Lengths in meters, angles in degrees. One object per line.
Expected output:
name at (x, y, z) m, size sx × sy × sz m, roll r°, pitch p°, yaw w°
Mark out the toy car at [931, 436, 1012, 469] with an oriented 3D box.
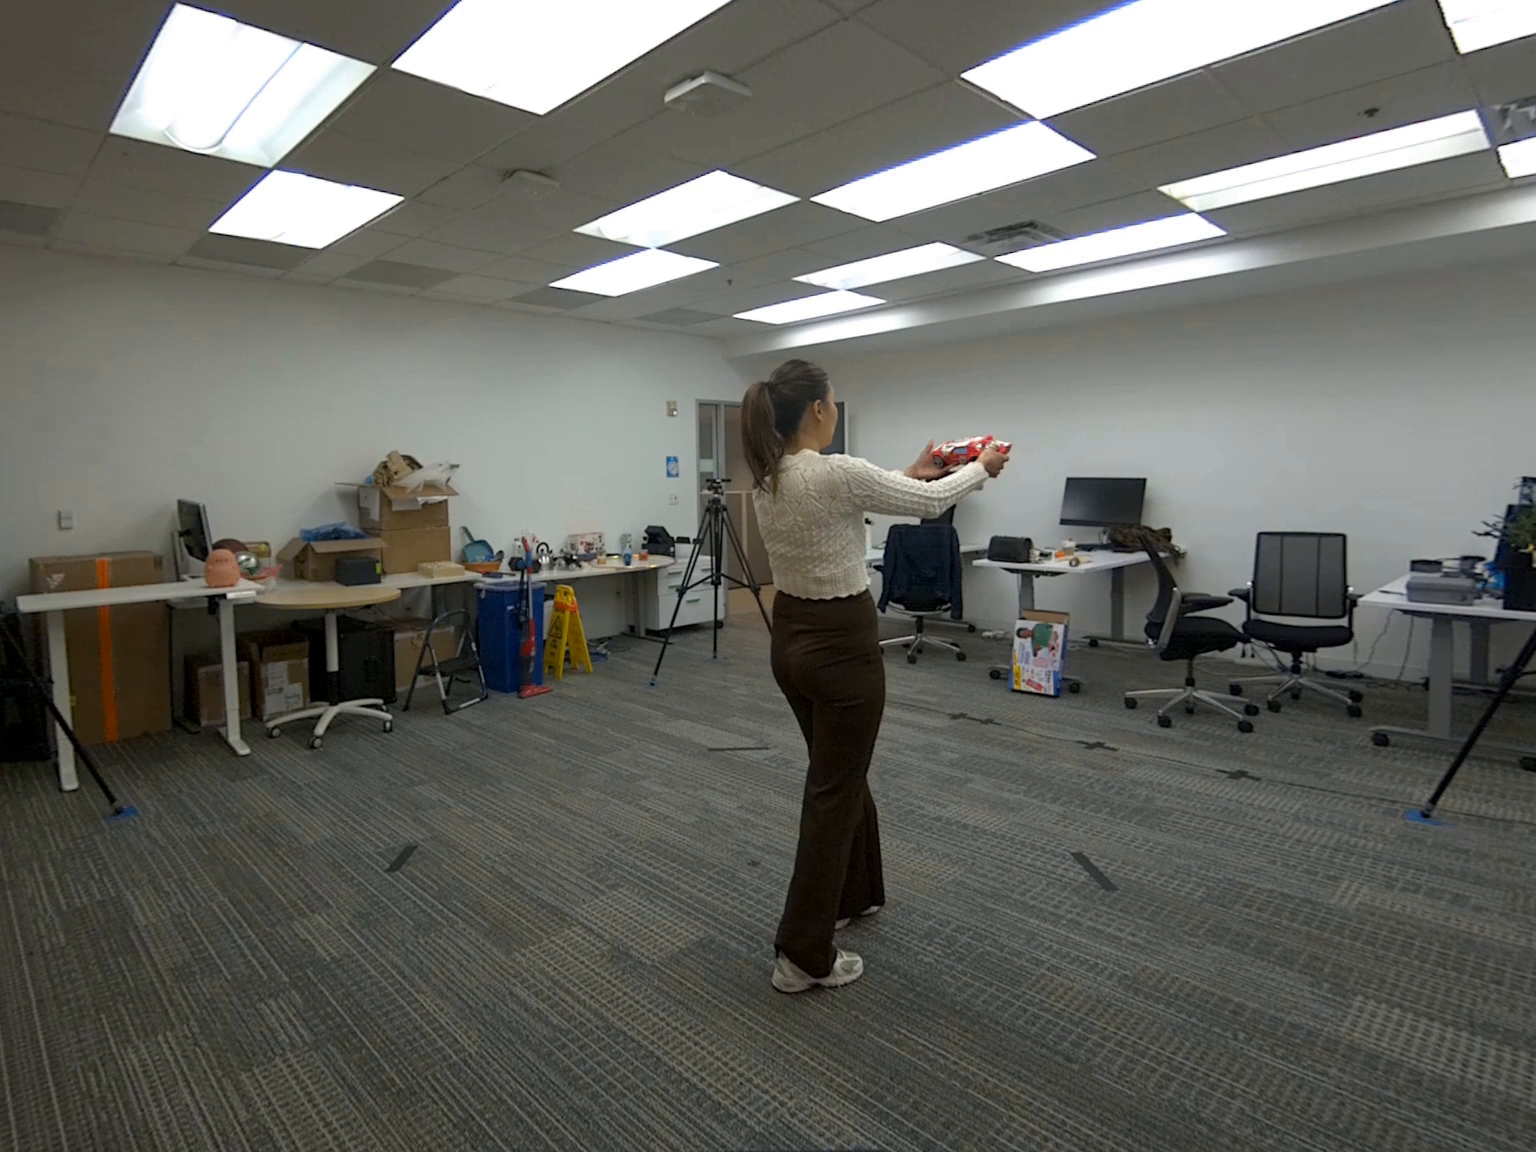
toy car at (0.626, -0.376, 2.611) m, size 0.129 × 0.082 × 0.261 m, roll -33°, pitch 18°, yaw -28°
